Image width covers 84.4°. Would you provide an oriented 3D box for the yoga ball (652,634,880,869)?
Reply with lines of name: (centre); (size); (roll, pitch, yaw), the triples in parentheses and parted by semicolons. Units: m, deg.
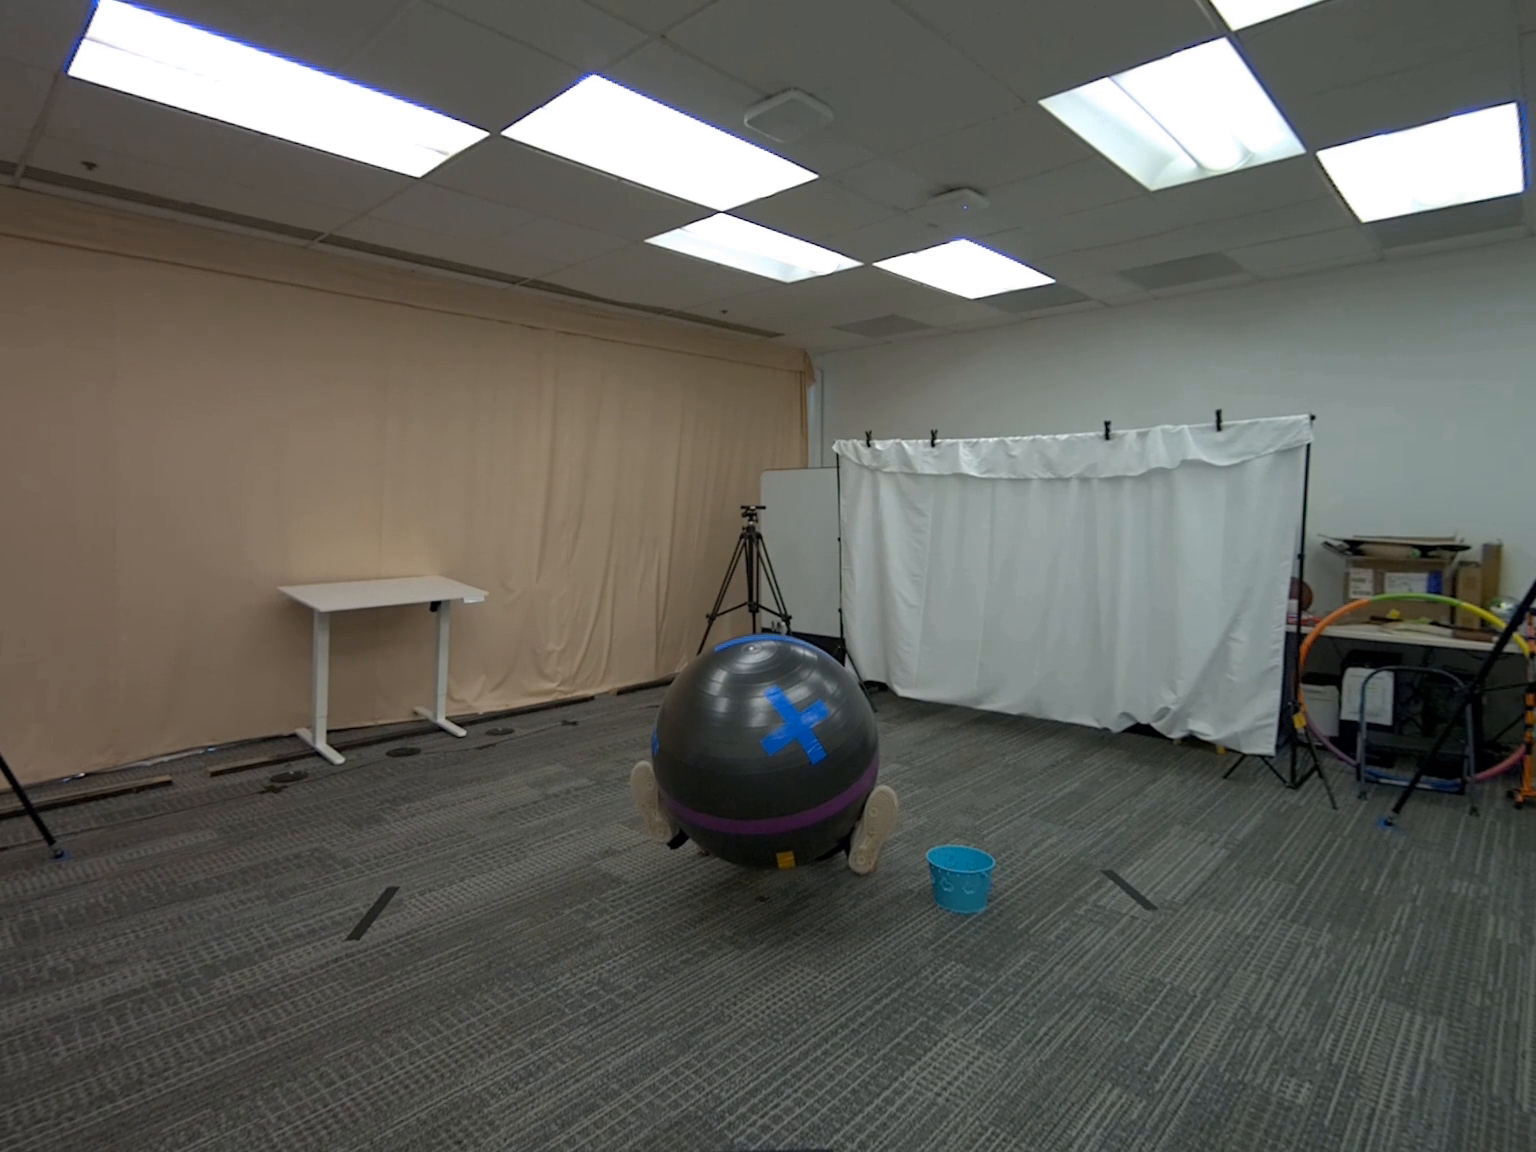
yoga ball: (-0.006, 0.575, 2.822); (0.757, 0.756, 0.760); (0, 4, -2)
